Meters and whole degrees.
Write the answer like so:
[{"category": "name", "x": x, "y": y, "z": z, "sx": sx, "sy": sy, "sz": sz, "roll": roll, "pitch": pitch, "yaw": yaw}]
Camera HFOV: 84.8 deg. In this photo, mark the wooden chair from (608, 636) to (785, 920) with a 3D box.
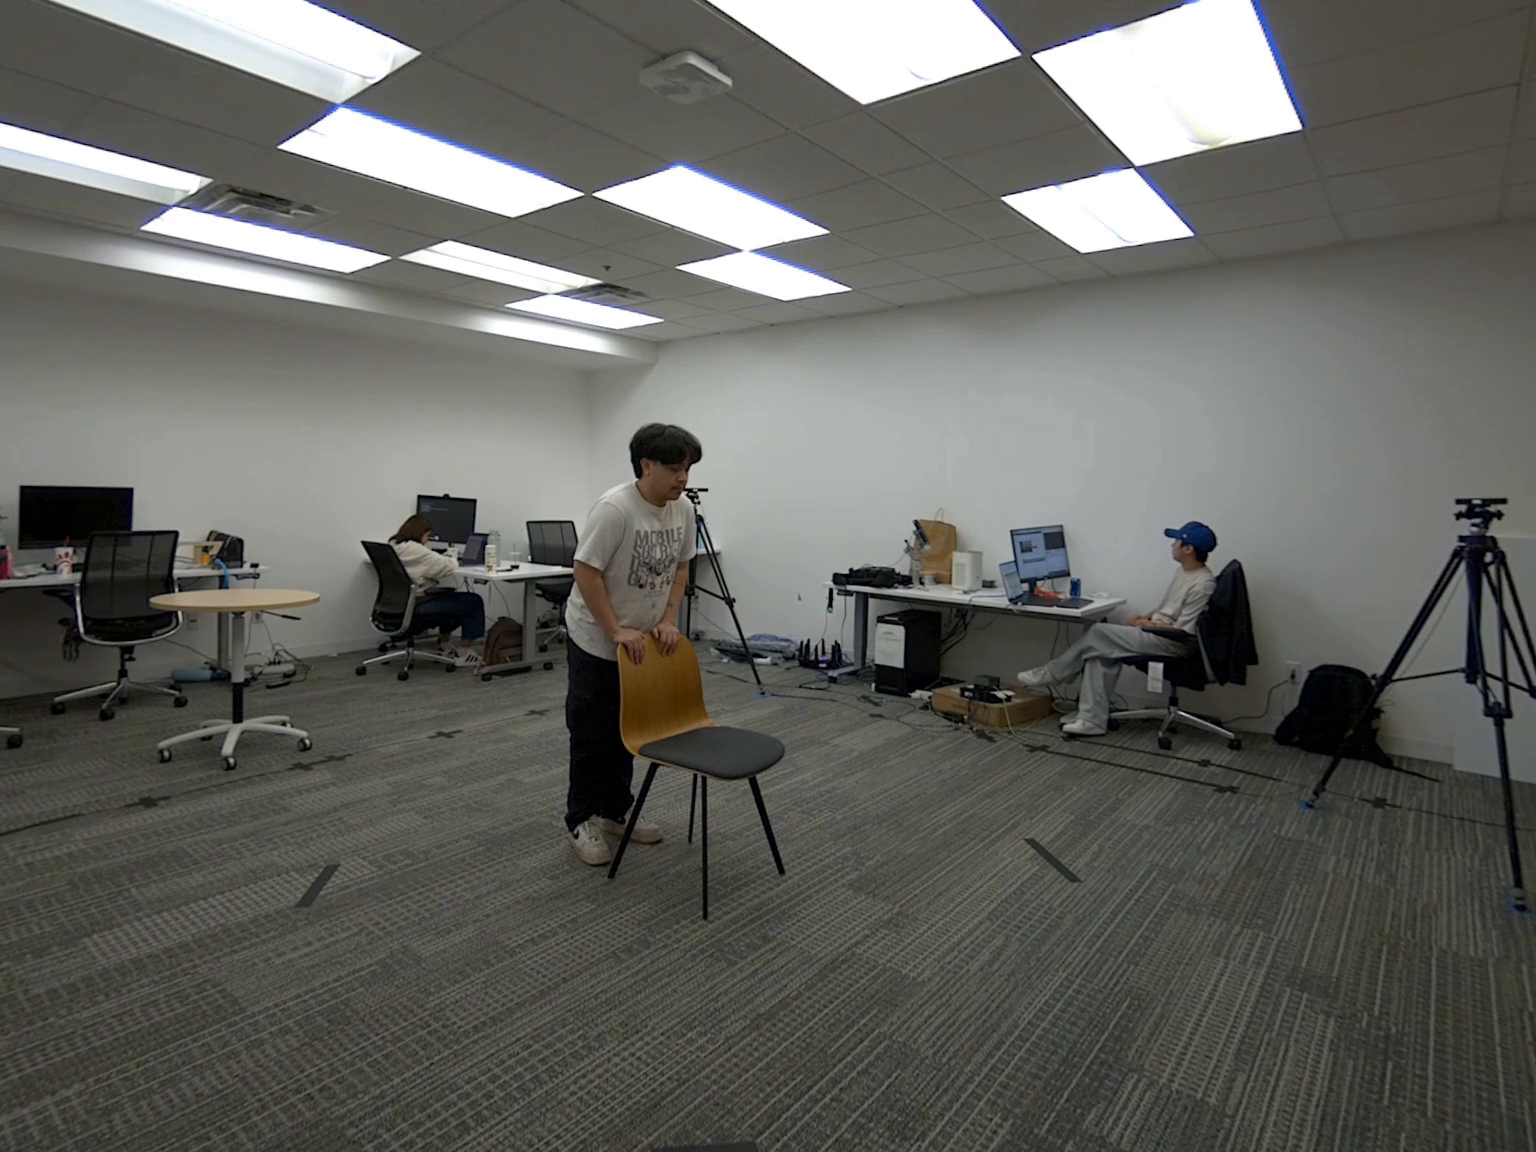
[{"category": "wooden chair", "x": -0.246, "y": 0.653, "z": 3.019, "sx": 0.539, "sy": 0.878, "sz": 0.464, "roll": -2, "pitch": 0, "yaw": 37}]
